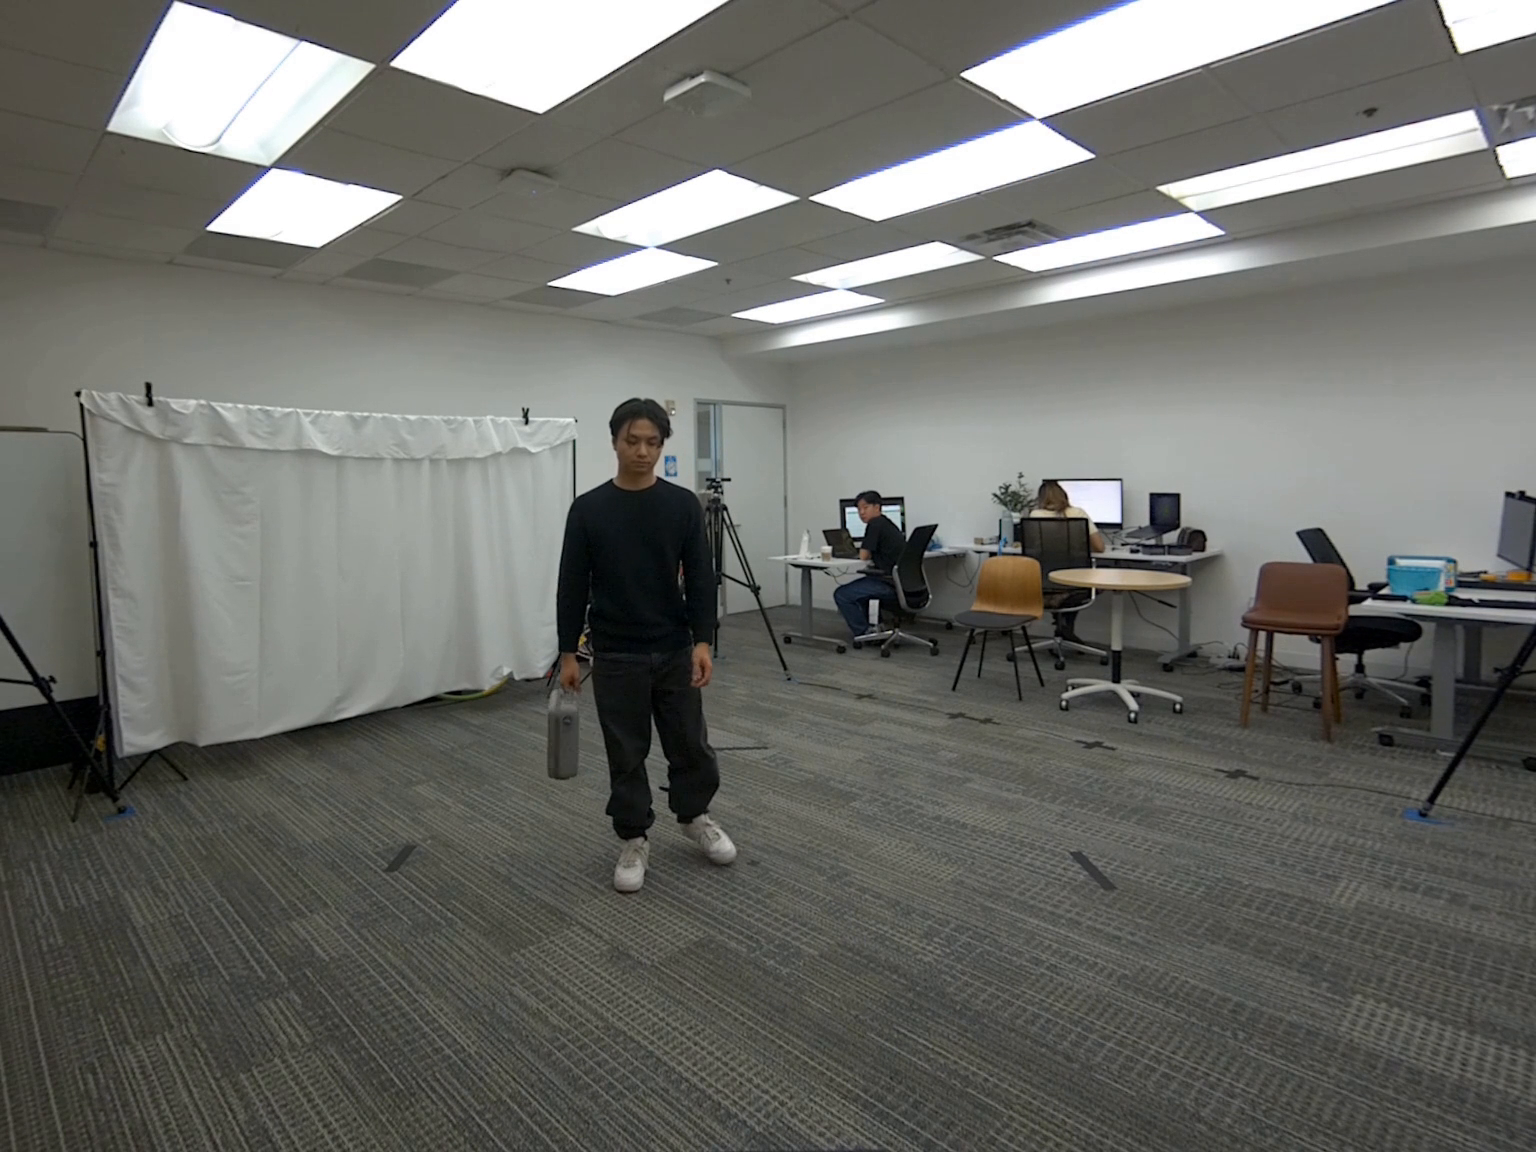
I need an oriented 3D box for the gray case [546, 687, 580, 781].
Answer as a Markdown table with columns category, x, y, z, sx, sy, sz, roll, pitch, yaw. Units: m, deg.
| category | x | y | z | sx | sy | sz | roll | pitch | yaw |
| --- | --- | --- | --- | --- | --- | --- | --- | --- | --- |
| gray case | -0.693 | 0.535 | 2.970 | 0.103 | 0.259 | 0.261 | -1 | 7 | -11 |
